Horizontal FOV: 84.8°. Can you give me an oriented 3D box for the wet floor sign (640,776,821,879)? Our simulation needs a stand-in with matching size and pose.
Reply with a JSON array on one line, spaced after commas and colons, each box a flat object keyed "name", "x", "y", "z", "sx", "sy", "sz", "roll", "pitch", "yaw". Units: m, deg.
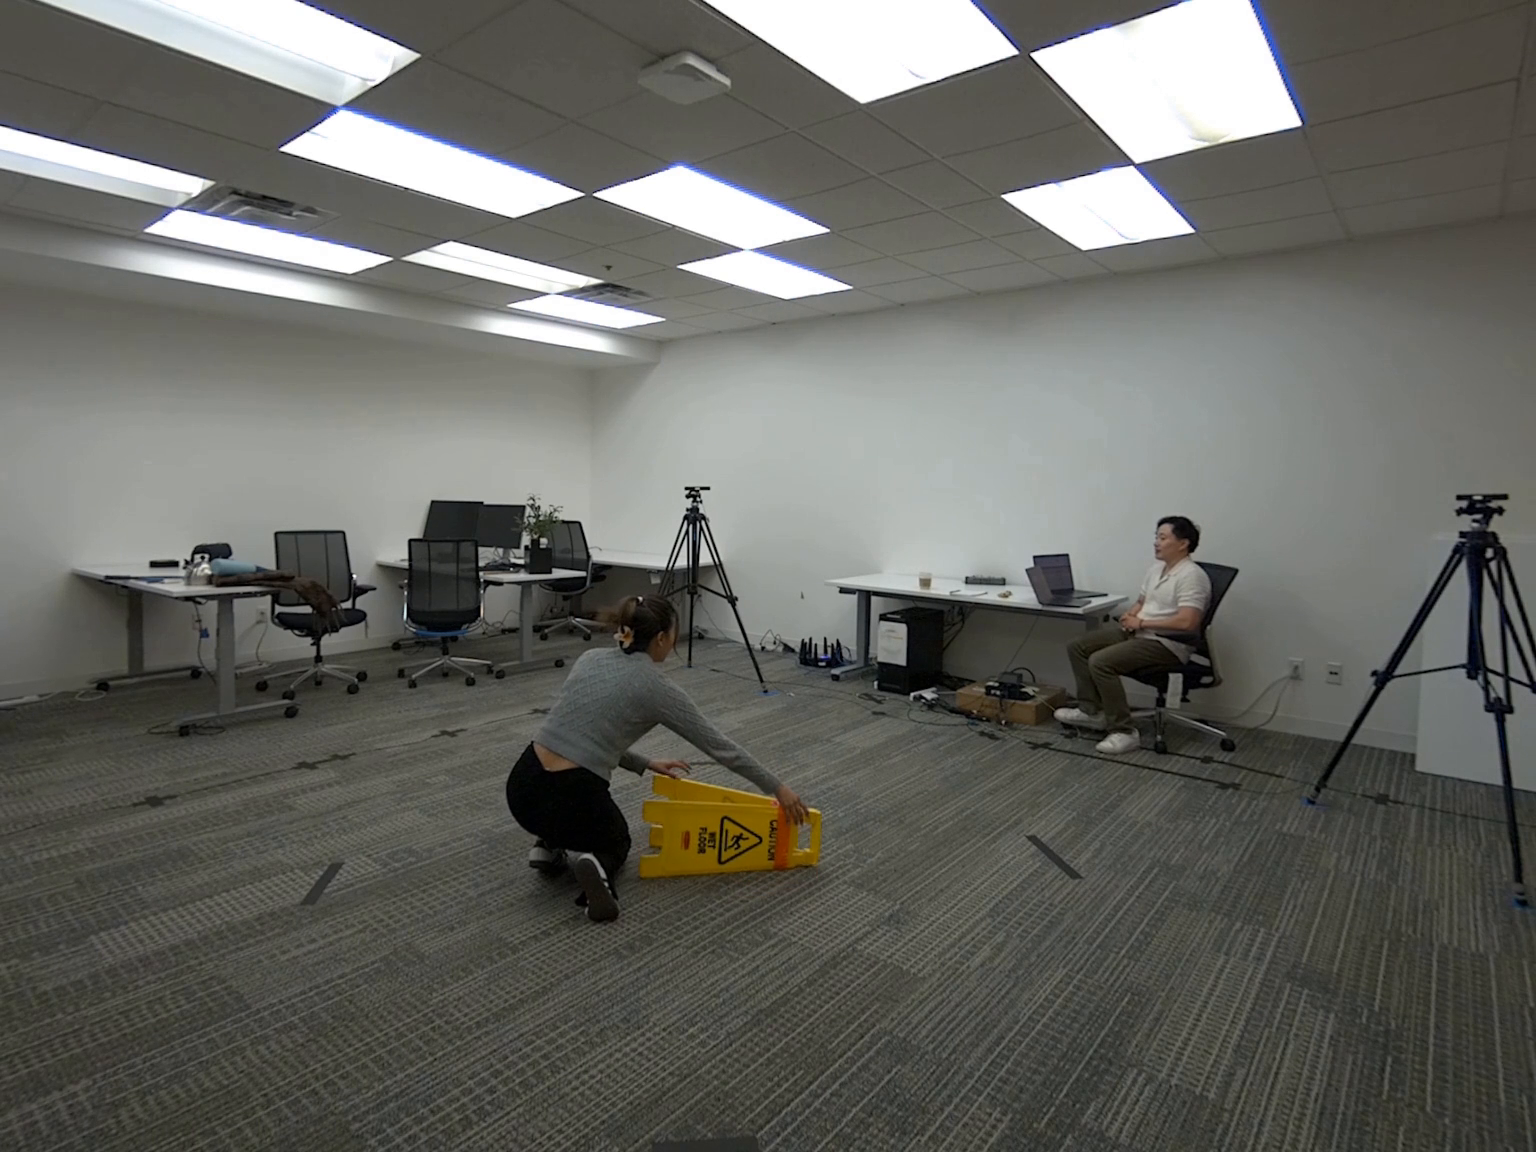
[{"name": "wet floor sign", "x": -0.133, "y": 0.940, "z": 3.139, "sx": 0.648, "sy": 0.281, "sz": 0.290, "roll": 4, "pitch": 4, "yaw": 3}]
